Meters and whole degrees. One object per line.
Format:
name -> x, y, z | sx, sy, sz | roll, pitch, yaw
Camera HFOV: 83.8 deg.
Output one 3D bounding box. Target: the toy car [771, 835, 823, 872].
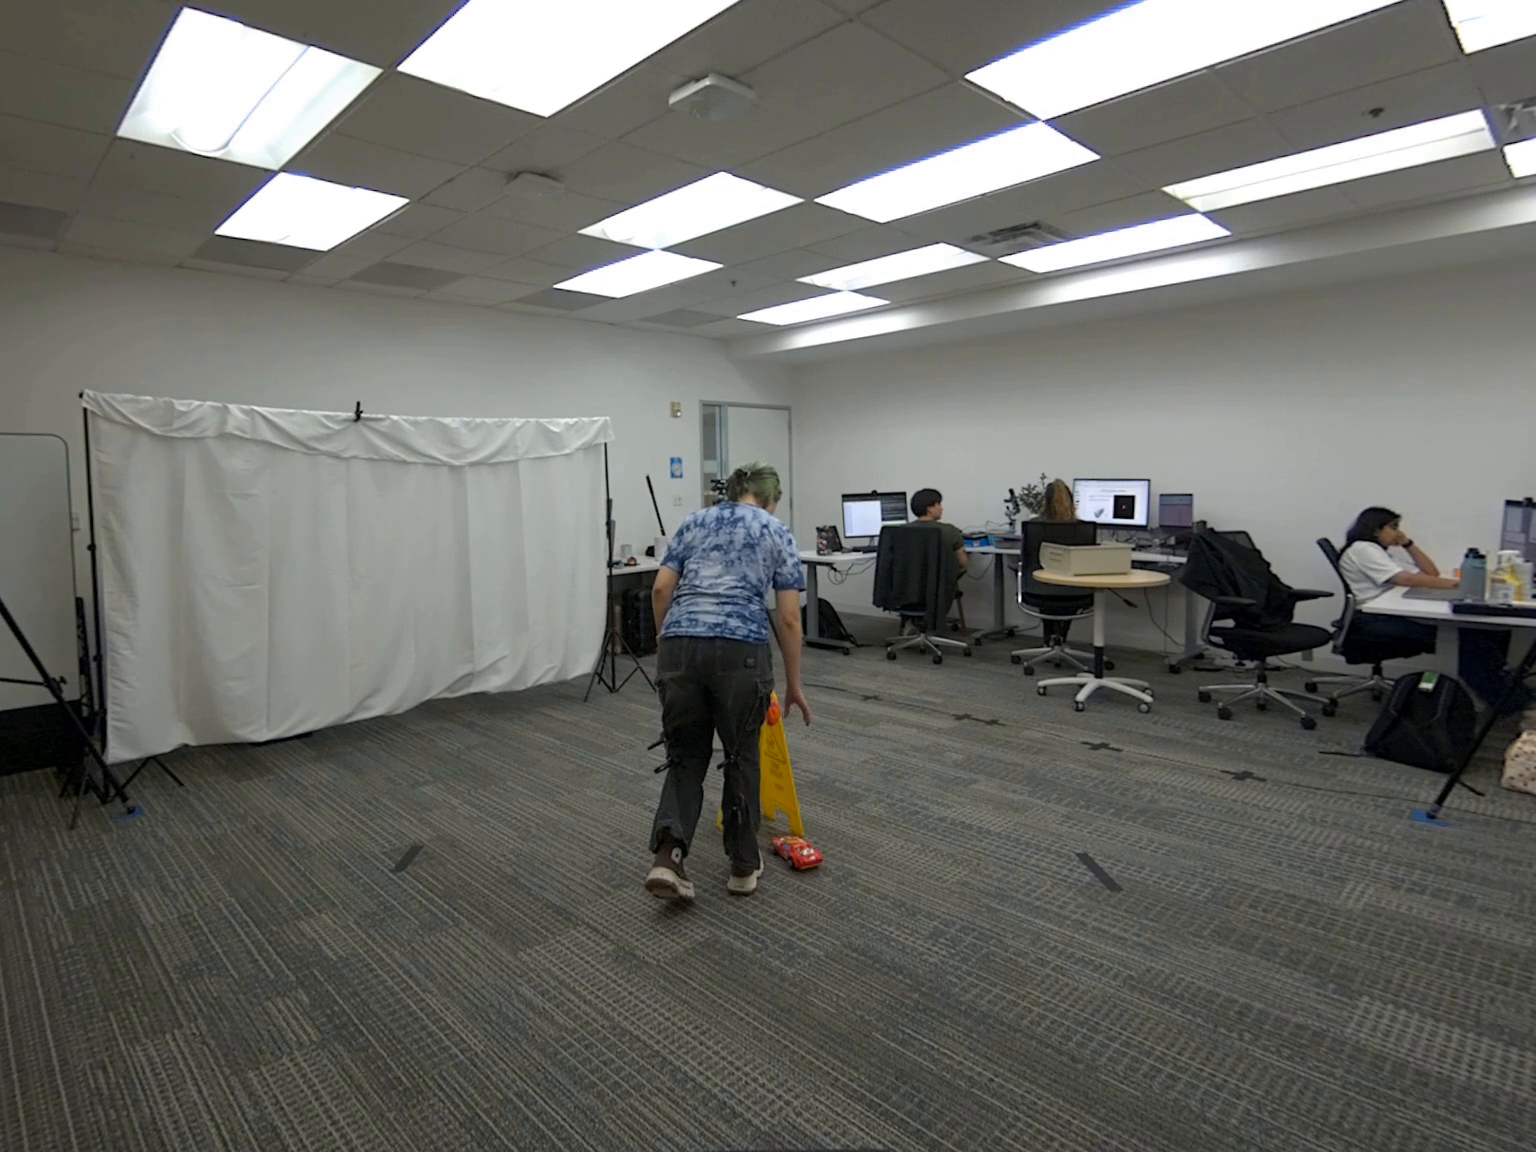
toy car -> 0.114, 1.019, 3.117 | 0.128, 0.084, 0.257 | -5, -7, -23
